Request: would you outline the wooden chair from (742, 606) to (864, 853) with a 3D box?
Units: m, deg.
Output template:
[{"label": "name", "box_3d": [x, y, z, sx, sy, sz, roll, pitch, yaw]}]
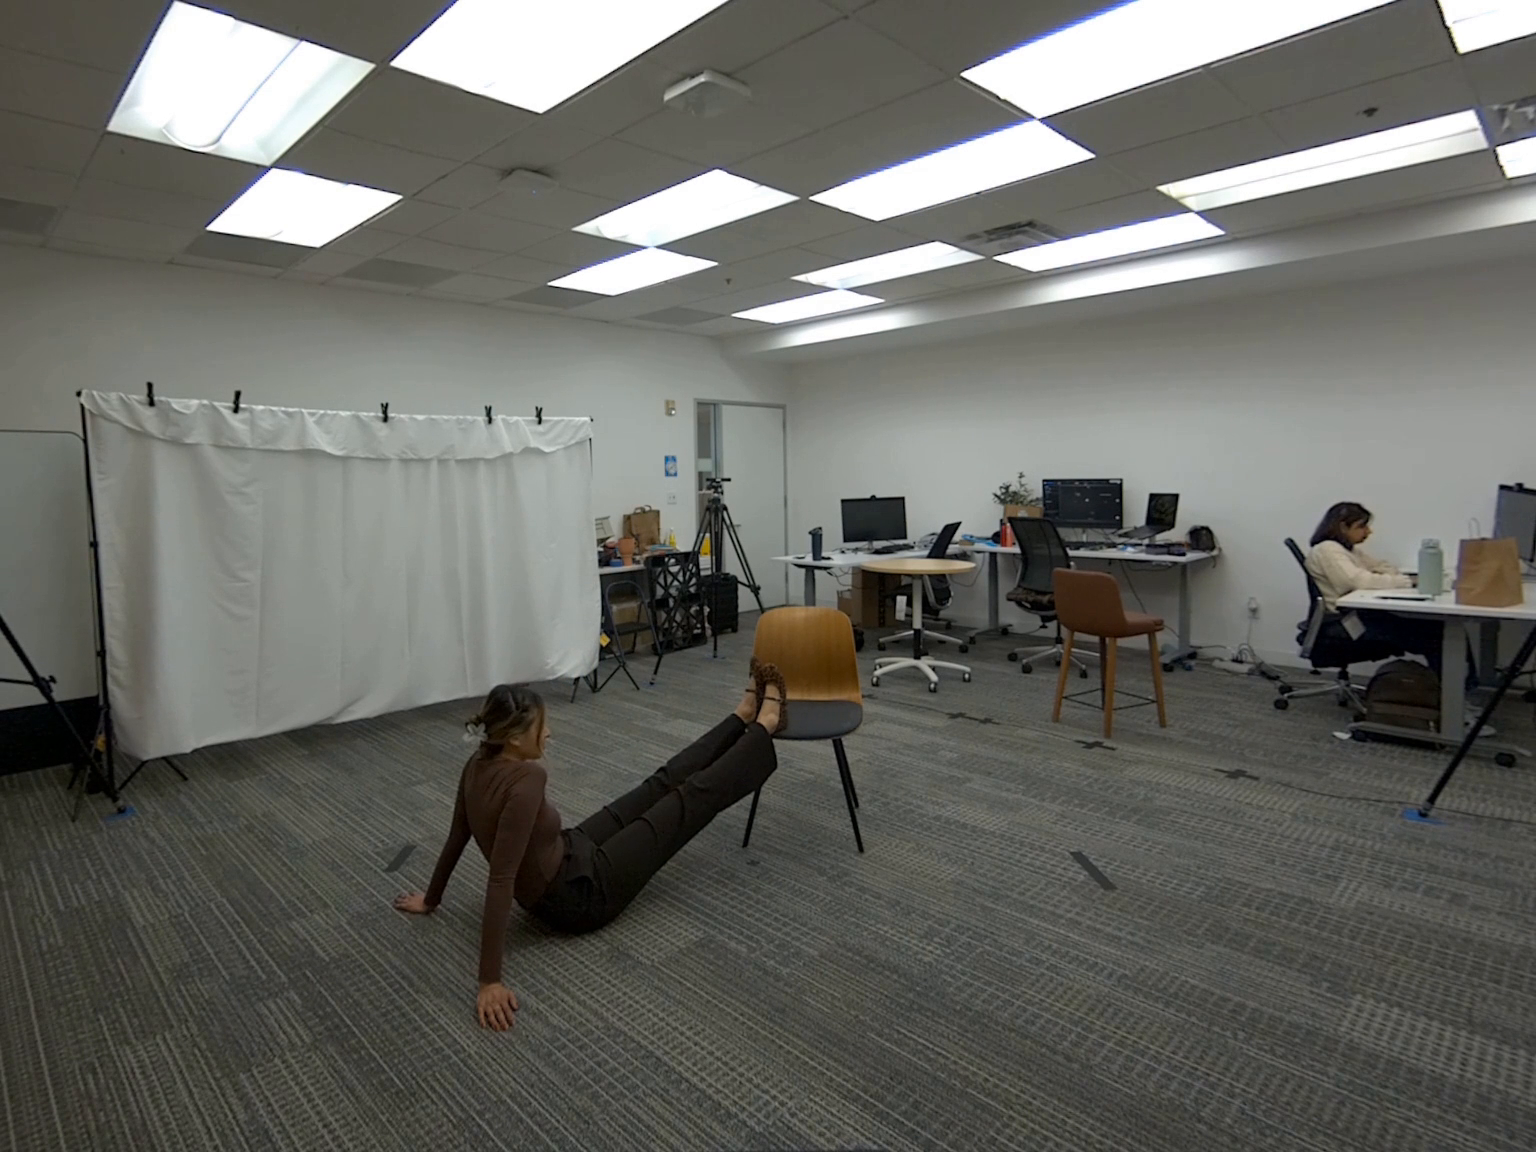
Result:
[{"label": "wooden chair", "box_3d": [0.140, 0.579, 3.387, 0.481, 0.877, 0.519, 0, 0, 6]}]
